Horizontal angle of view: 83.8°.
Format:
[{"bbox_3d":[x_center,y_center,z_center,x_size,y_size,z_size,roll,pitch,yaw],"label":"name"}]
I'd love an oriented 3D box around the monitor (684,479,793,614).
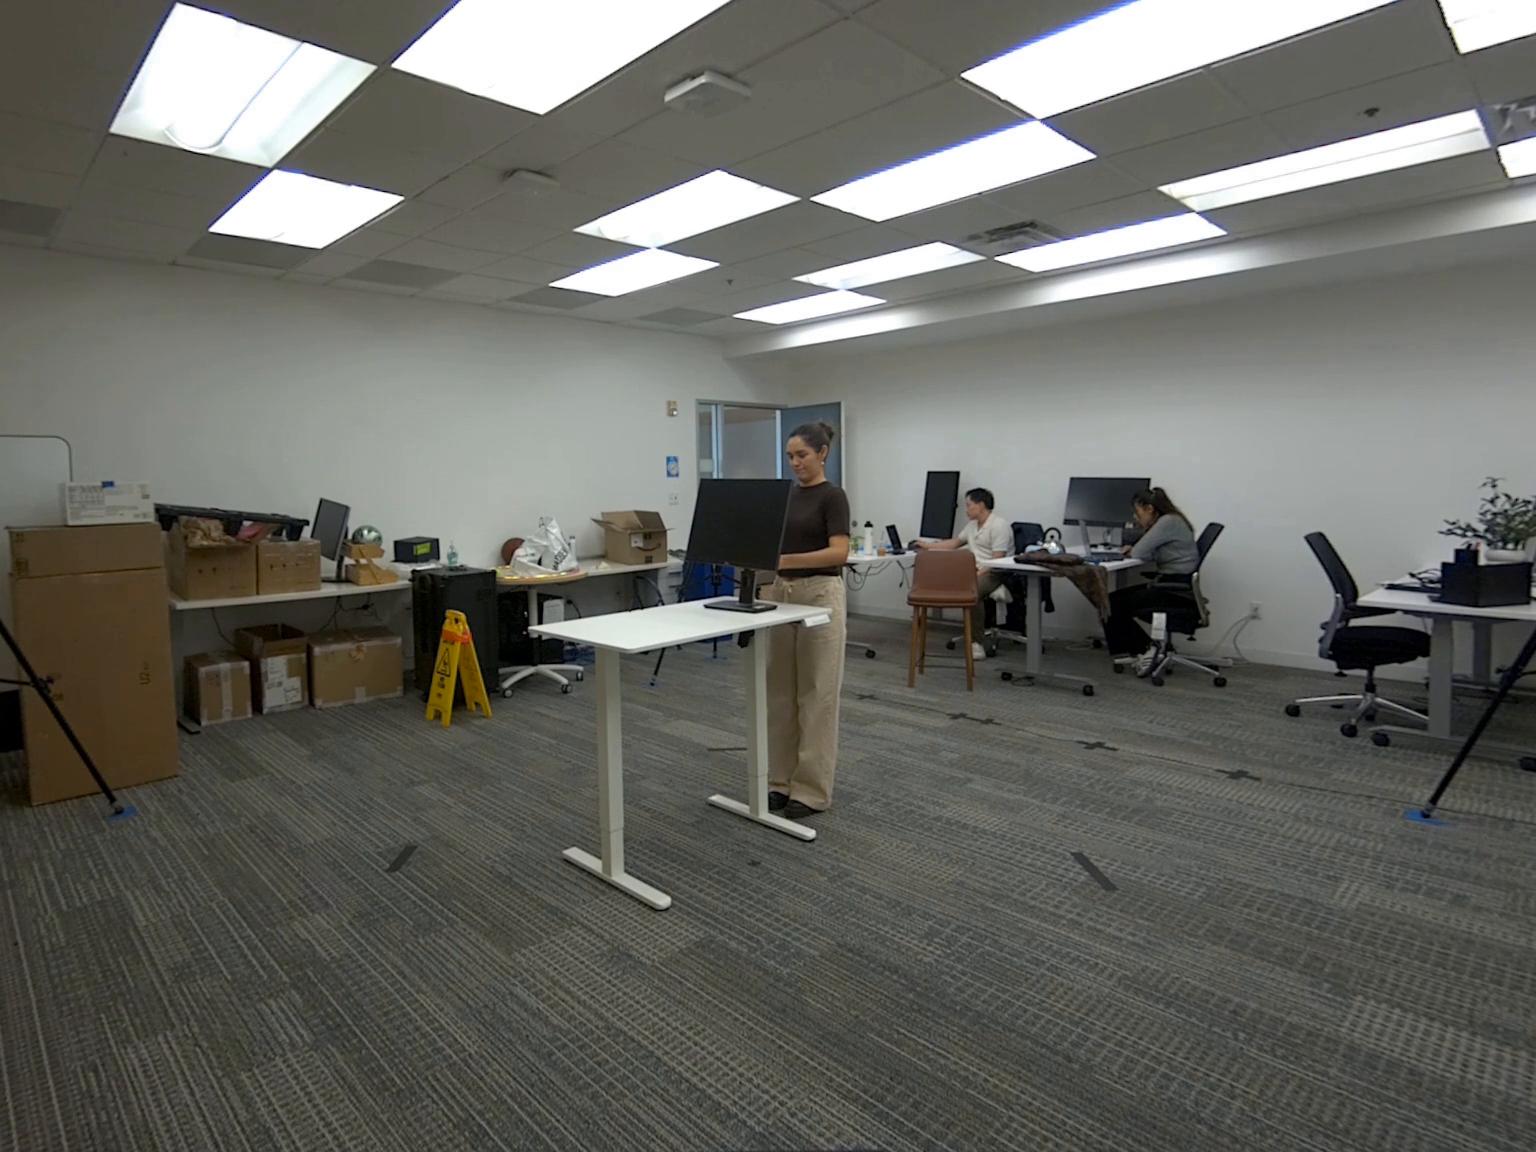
[{"bbox_3d":[-0.105,-0.125,3.396,0.182,0.521,0.556,-2,6,-45],"label":"monitor"}]
